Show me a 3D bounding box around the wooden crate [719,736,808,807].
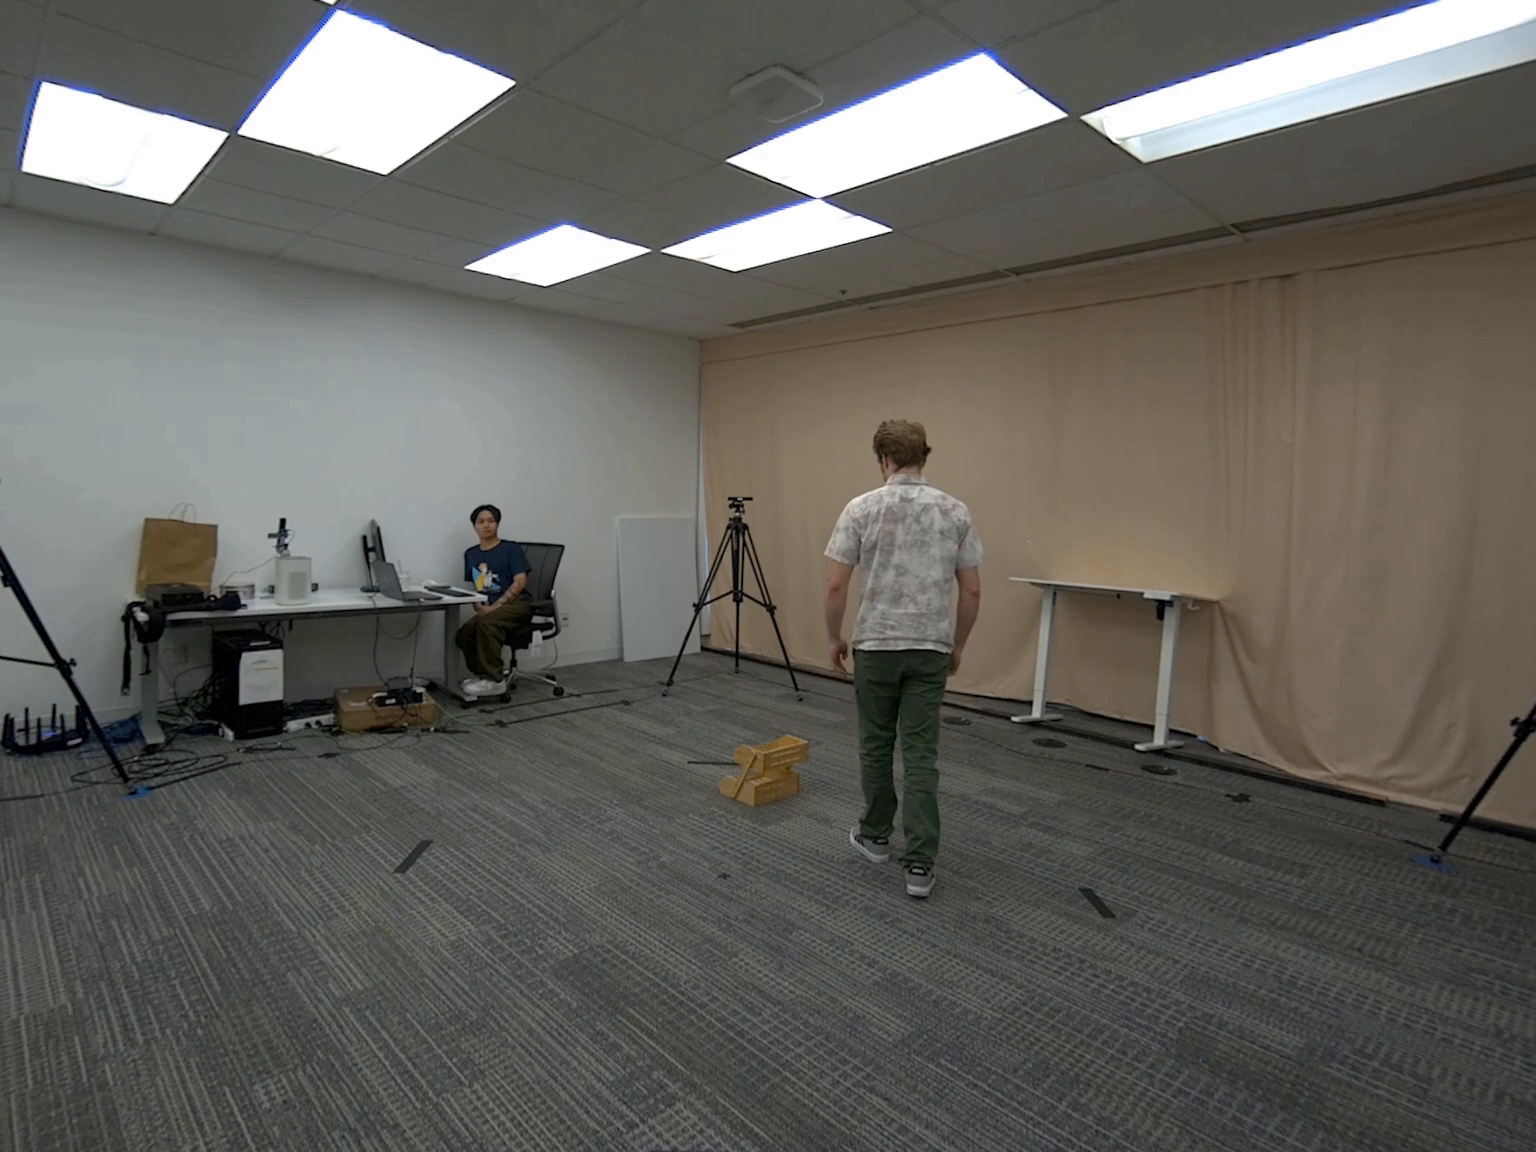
[{"bbox_3d":[-0.034,0.901,3.998,0.317,0.272,0.310,-2,6,-44],"label":"wooden crate"}]
